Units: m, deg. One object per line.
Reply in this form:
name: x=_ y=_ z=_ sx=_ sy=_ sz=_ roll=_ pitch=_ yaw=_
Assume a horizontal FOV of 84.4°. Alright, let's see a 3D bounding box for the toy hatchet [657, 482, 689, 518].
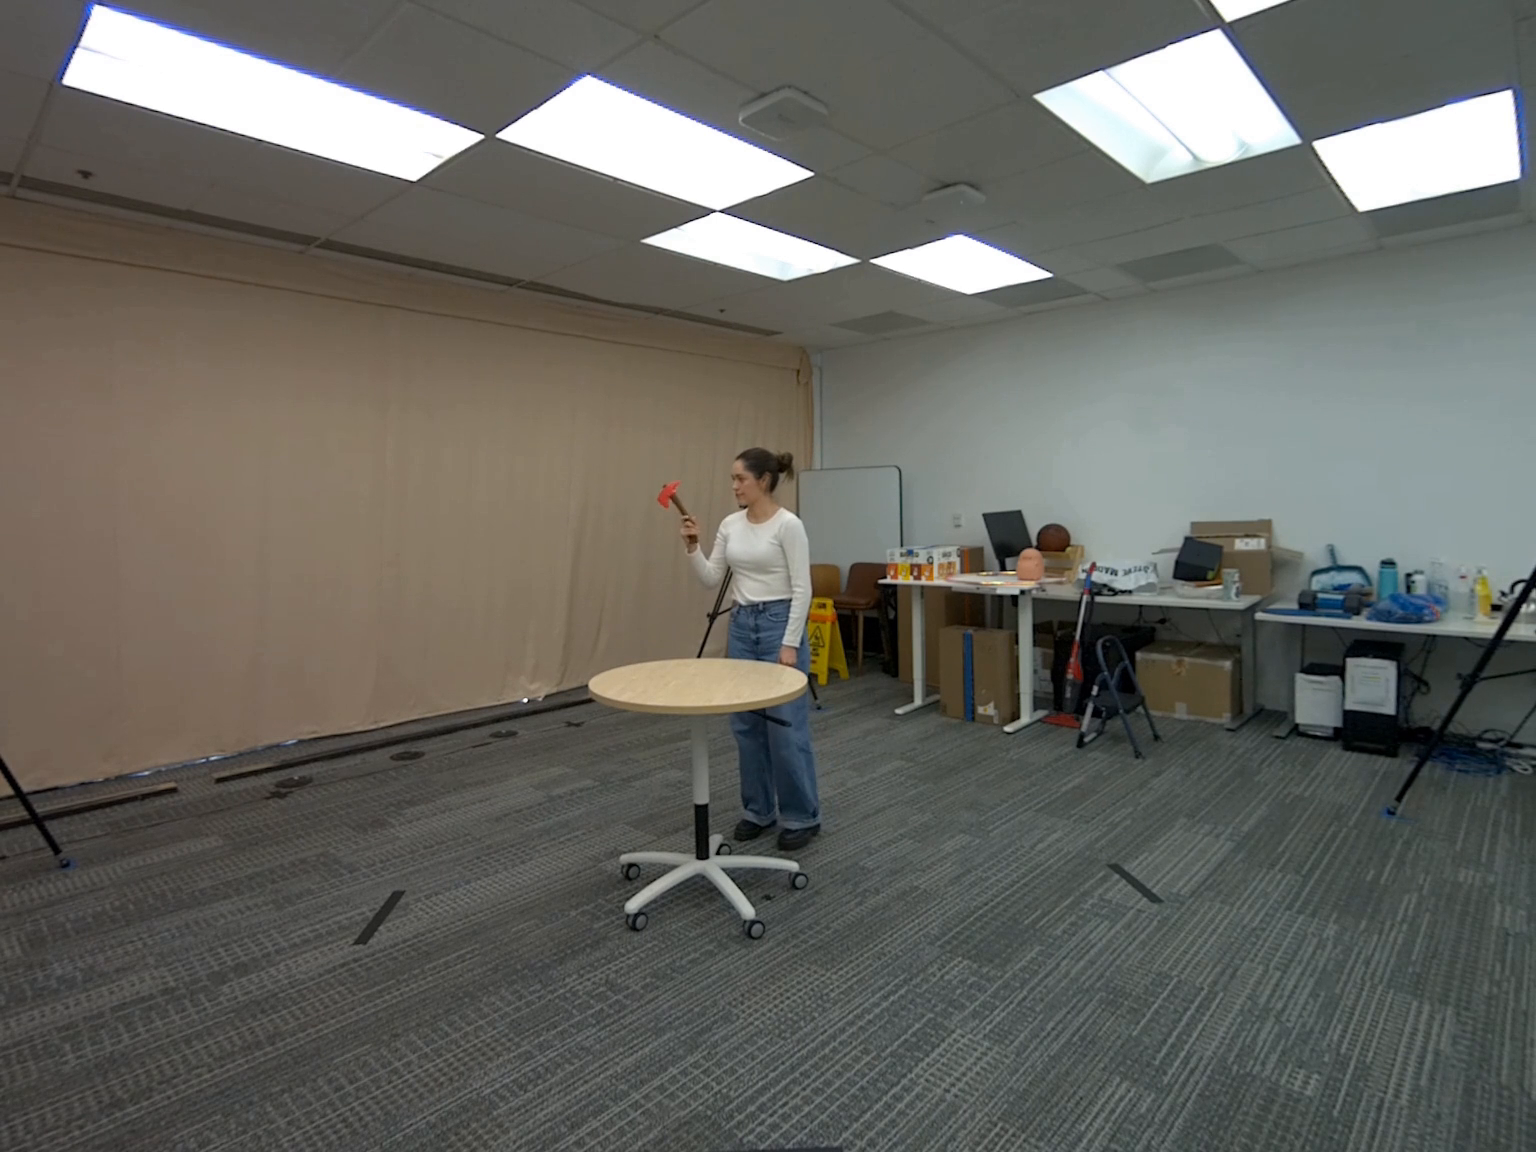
toy hatchet: x=-0.370 y=-0.255 z=3.483 sx=0.133 sy=0.270 sz=0.029 roll=-17 pitch=0 yaw=22
